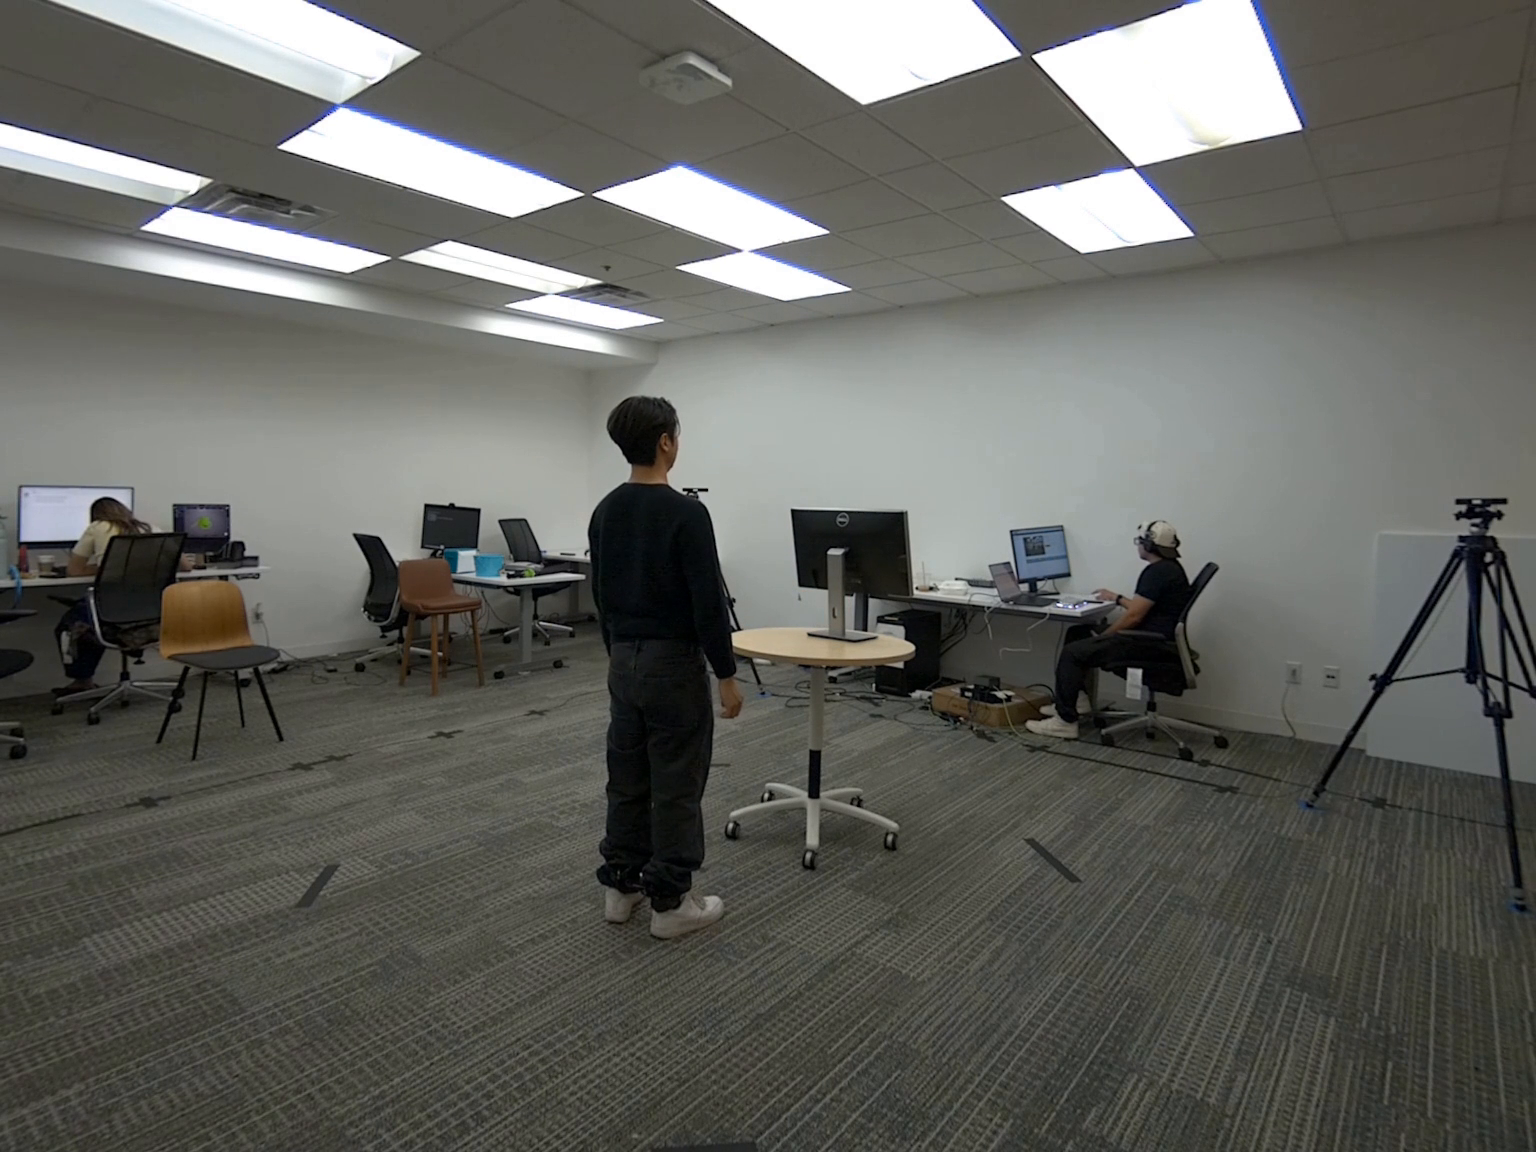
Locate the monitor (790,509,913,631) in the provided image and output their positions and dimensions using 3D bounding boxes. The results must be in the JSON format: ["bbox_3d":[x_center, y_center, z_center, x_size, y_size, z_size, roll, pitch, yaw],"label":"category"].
[{"bbox_3d":[0.321,-0.016,3.600,0.547,0.517,0.169,2,-2,37],"label":"monitor"}]
